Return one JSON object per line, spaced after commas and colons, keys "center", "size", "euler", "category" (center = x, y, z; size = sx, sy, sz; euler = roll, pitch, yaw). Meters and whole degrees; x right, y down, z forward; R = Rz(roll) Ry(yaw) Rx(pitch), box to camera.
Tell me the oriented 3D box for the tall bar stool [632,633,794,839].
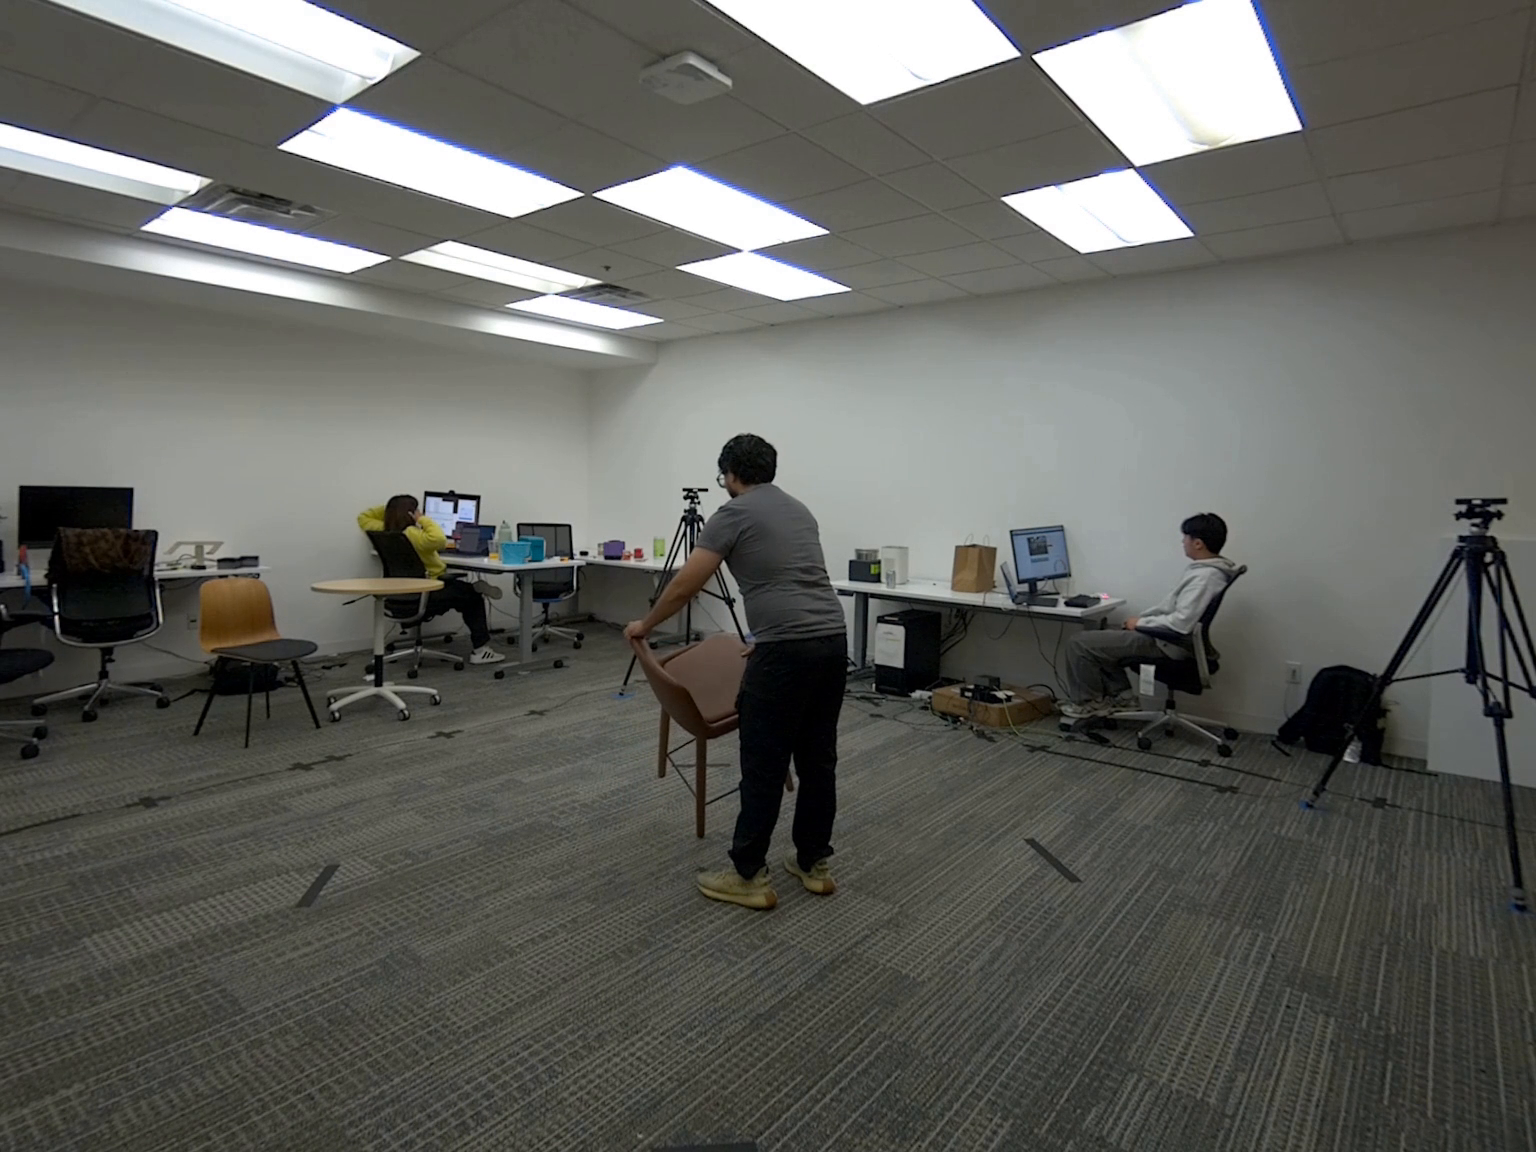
{"center": [-0.228, 0.535, 3.361], "size": [0.462, 0.862, 0.476], "euler": [-24, 41, -22], "category": "tall bar stool"}
